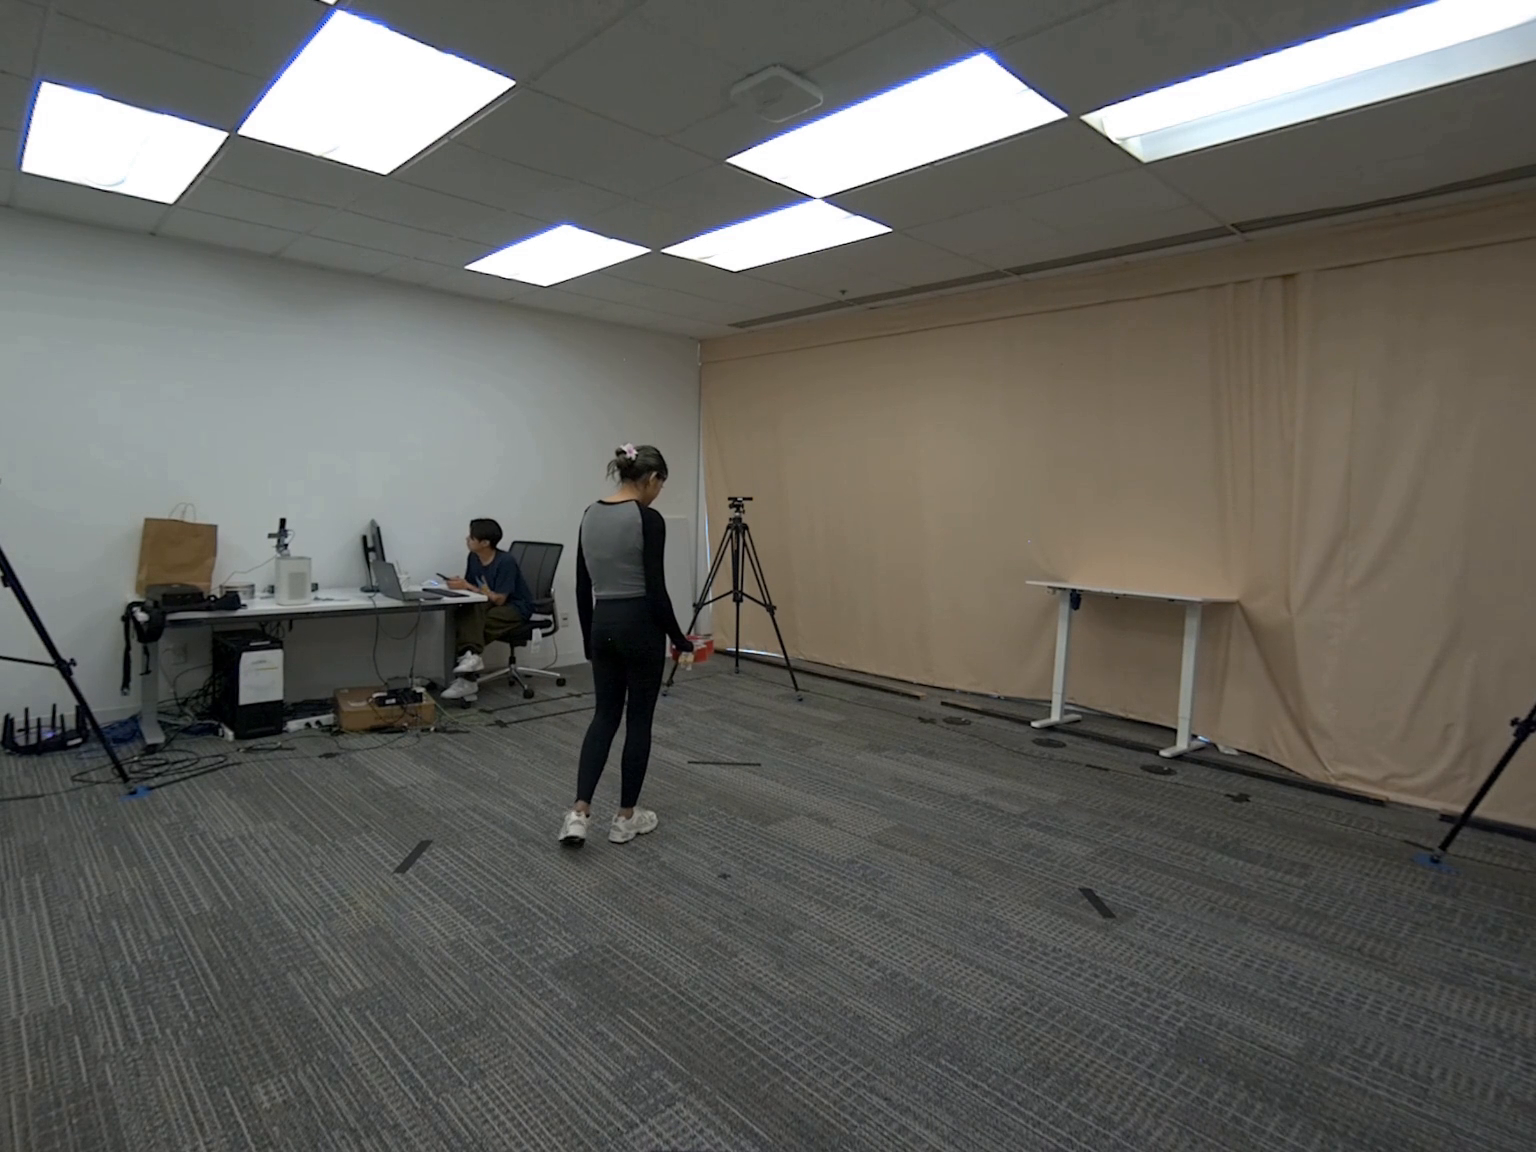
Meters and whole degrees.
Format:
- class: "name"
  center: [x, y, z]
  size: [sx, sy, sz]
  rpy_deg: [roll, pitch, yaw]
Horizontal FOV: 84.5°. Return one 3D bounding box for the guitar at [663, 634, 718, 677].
- class: "guitar"
  center: [-0.351, 0.321, 3.507]
  size: [0.194, 0.070, 0.496]
  rpy_deg: [0, 6, 8]
